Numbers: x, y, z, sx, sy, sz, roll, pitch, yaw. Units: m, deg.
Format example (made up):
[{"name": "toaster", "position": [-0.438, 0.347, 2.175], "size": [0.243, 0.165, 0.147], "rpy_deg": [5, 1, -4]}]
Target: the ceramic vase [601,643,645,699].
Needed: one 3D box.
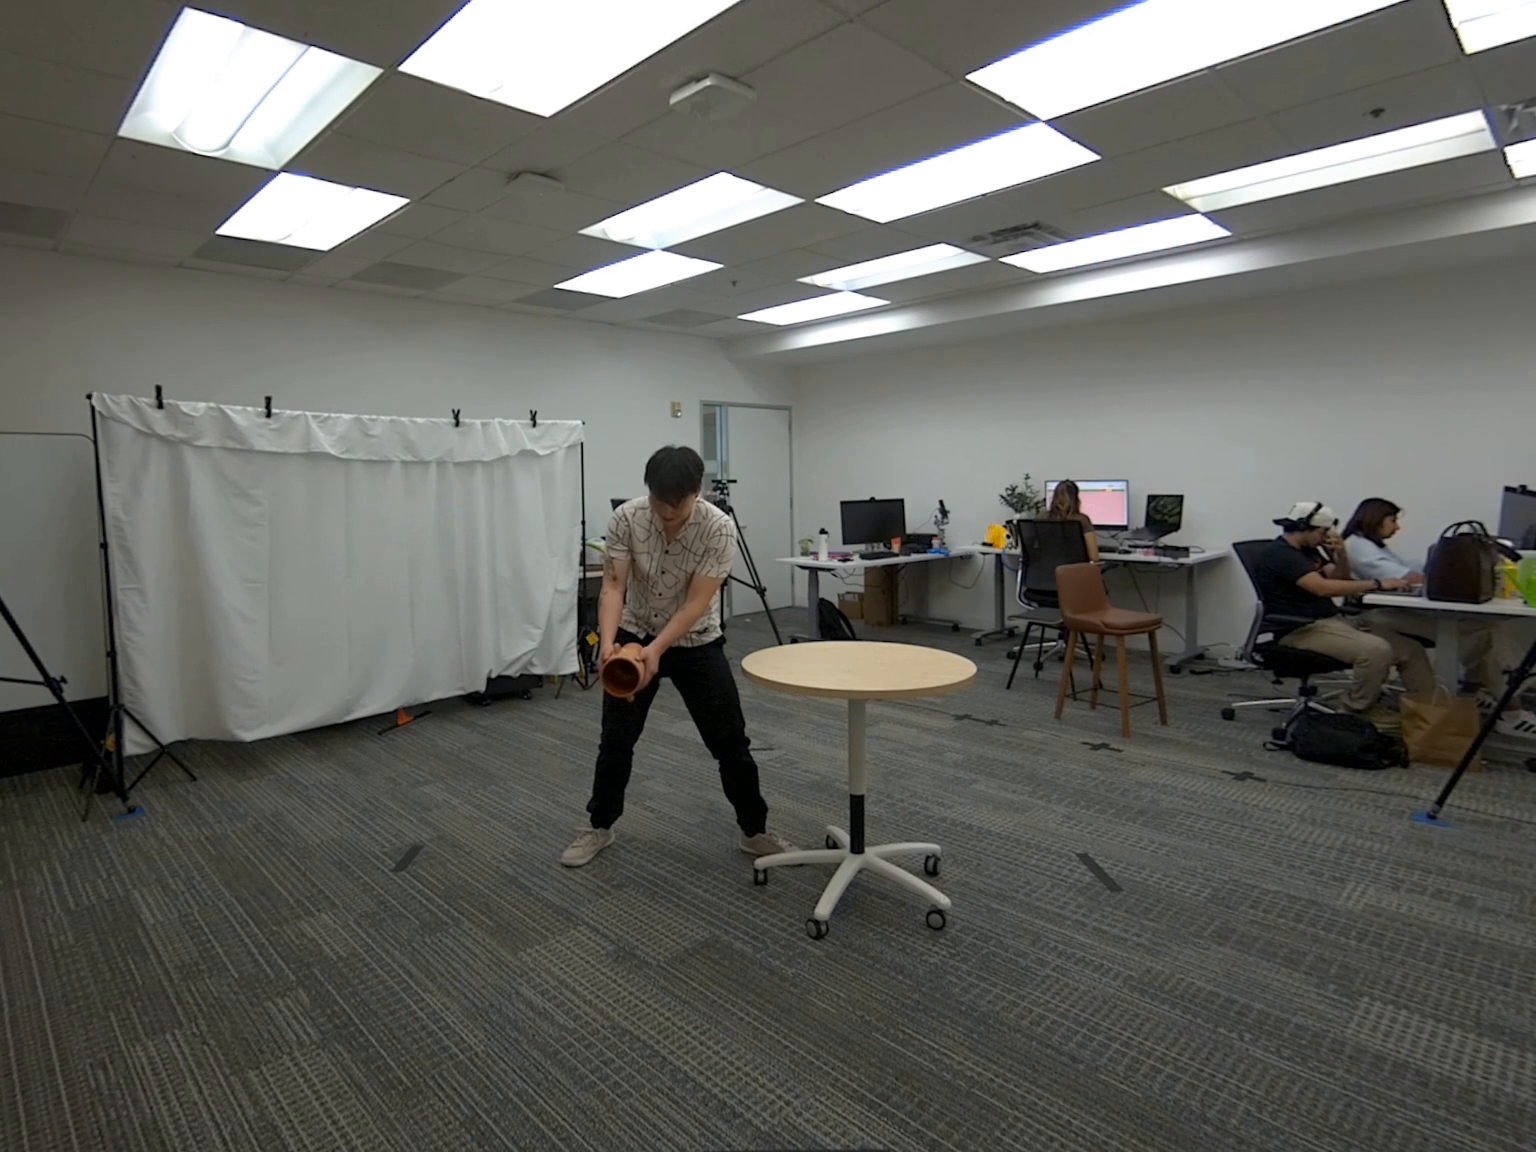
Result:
[{"name": "ceramic vase", "position": [-0.464, 0.298, 2.807], "size": [0.134, 0.158, 0.221], "rpy_deg": [29, 9, -5]}]
